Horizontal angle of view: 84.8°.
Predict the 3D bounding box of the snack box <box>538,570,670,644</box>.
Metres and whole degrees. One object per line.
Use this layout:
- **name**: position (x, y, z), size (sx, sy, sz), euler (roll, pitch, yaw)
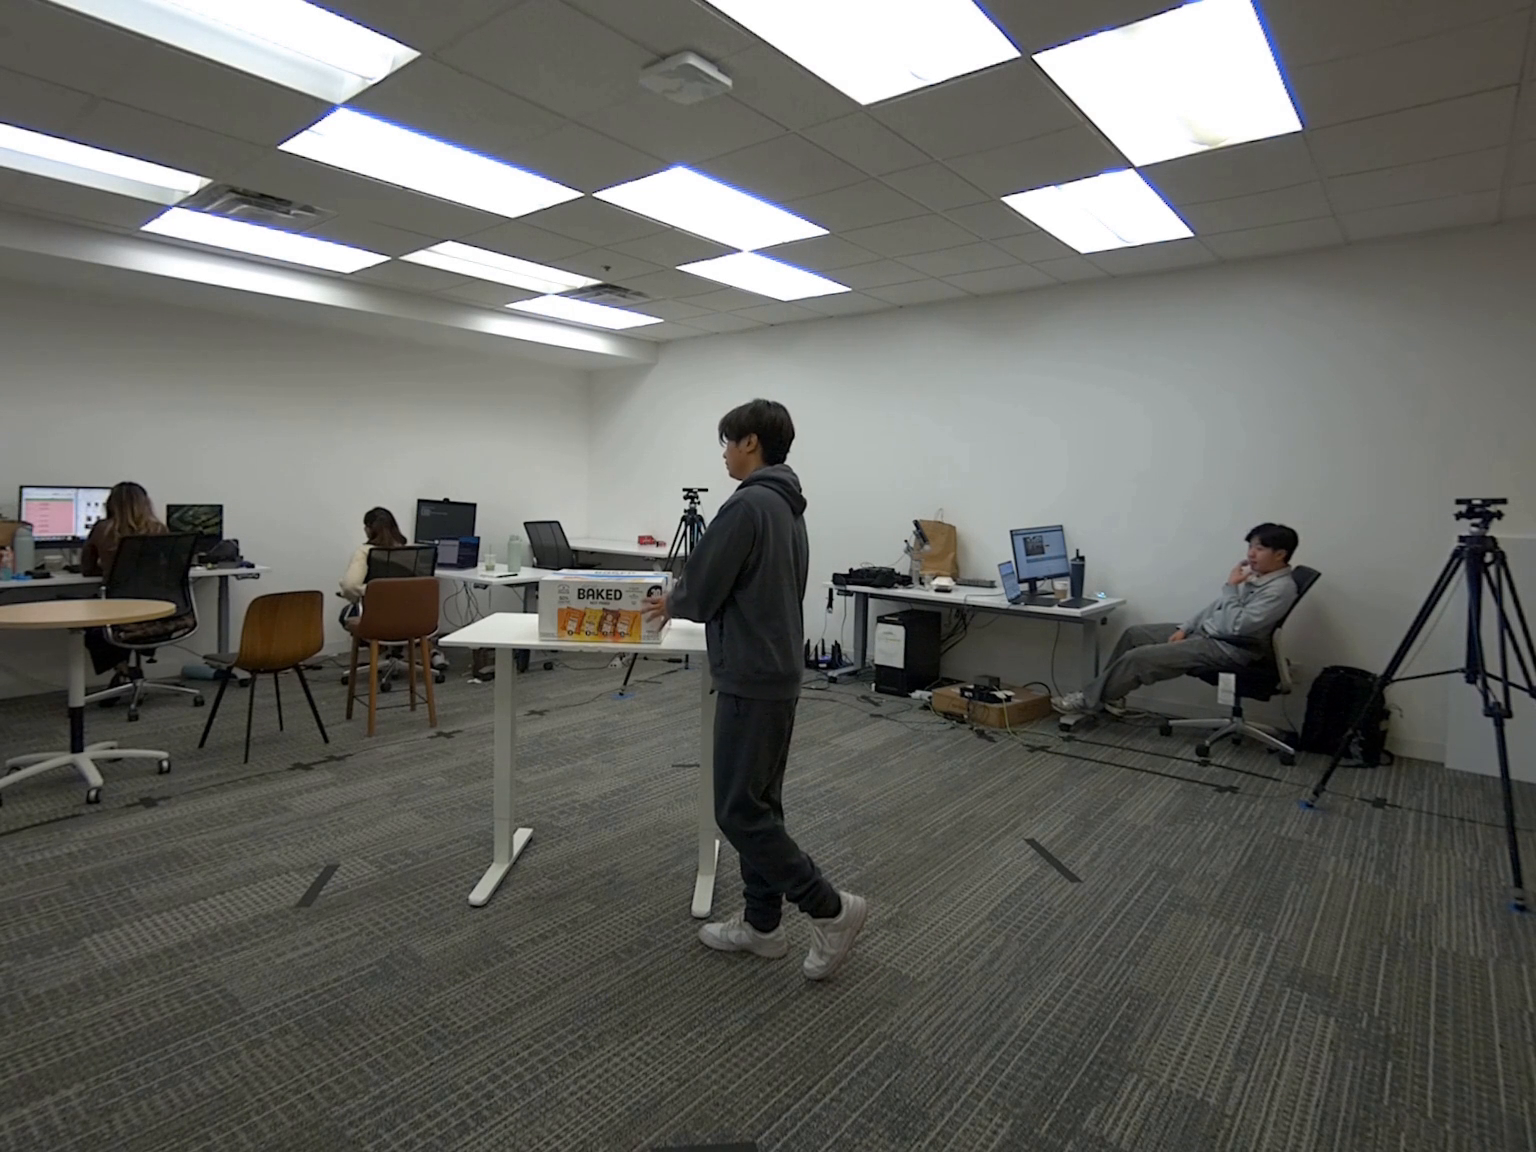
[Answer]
- **snack box**: position (-0.565, 0.098, 2.934), size (0.406, 0.205, 0.341), euler (1, 6, 1)
